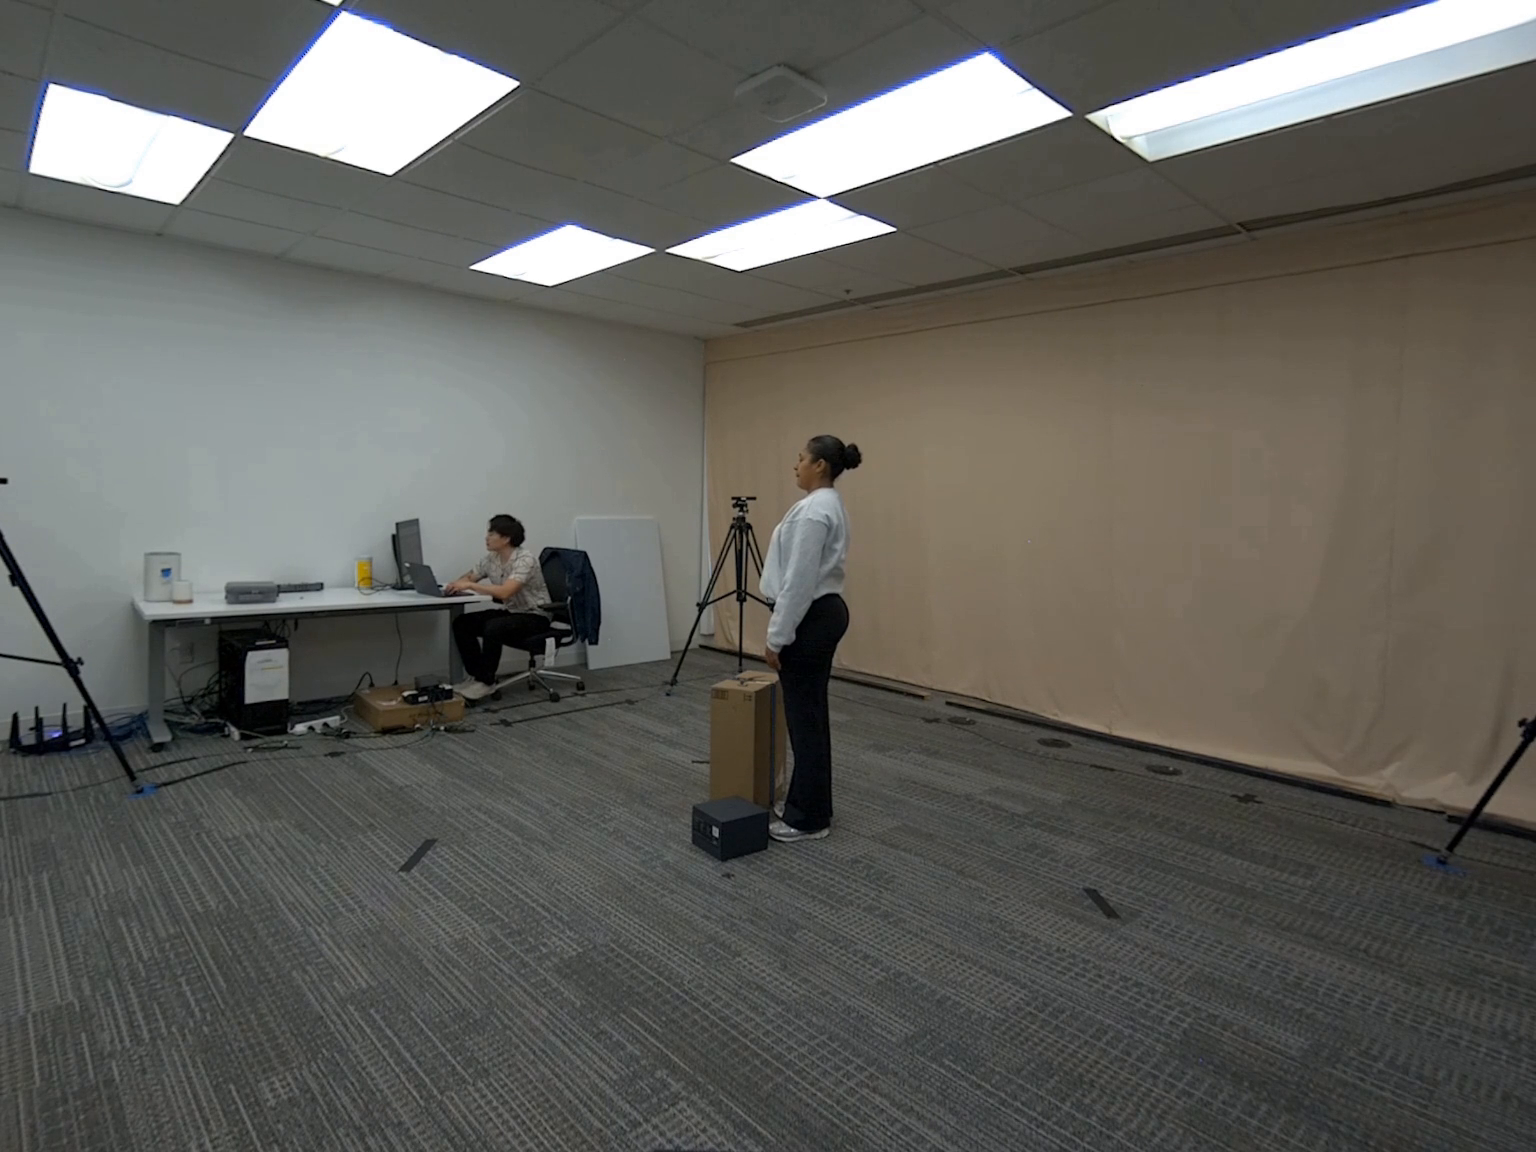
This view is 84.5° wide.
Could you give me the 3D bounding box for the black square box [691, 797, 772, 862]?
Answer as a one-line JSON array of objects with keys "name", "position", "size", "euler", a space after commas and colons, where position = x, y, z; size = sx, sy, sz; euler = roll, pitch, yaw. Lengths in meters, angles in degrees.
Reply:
[{"name": "black square box", "position": [-0.166, 1.004, 3.363], "size": [0.223, 0.155, 0.222], "euler": [-1, 5, -38]}]
